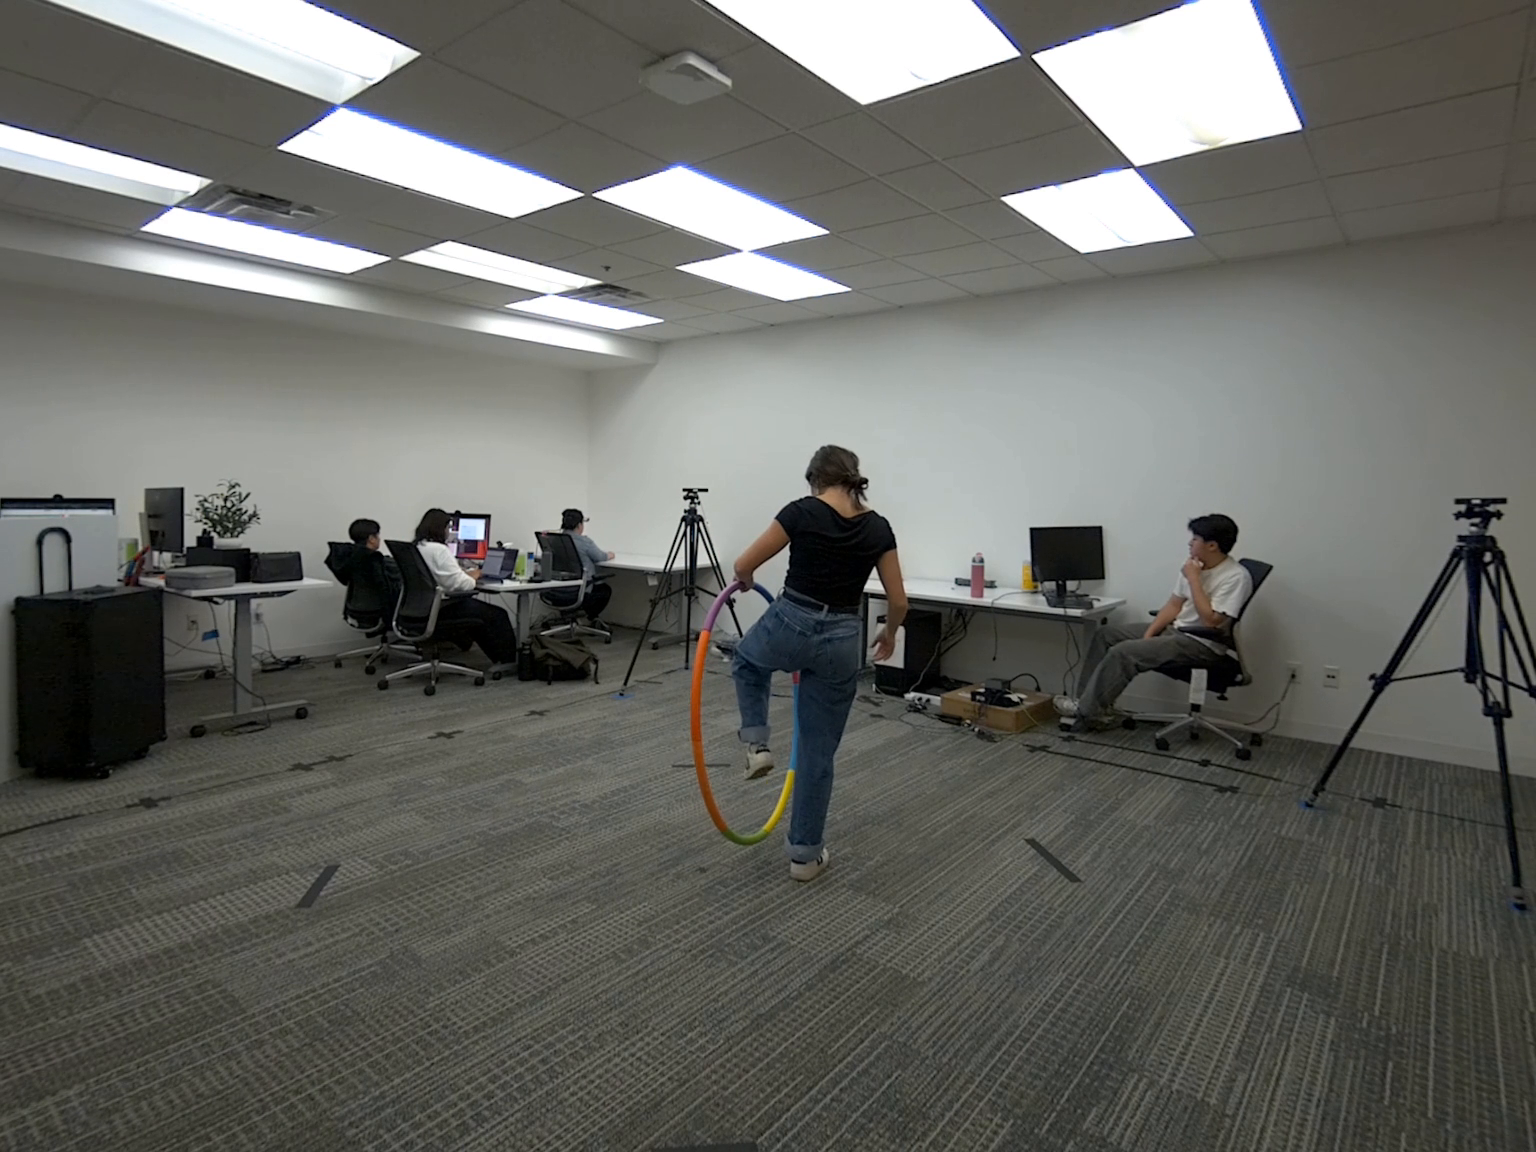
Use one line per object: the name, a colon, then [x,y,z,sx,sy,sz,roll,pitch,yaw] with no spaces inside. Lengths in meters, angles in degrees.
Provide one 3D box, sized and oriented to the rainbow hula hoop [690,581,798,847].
rainbow hula hoop: [-0.064,0.495,3.256,0.036,0.979,0.958,-6,1,23]
